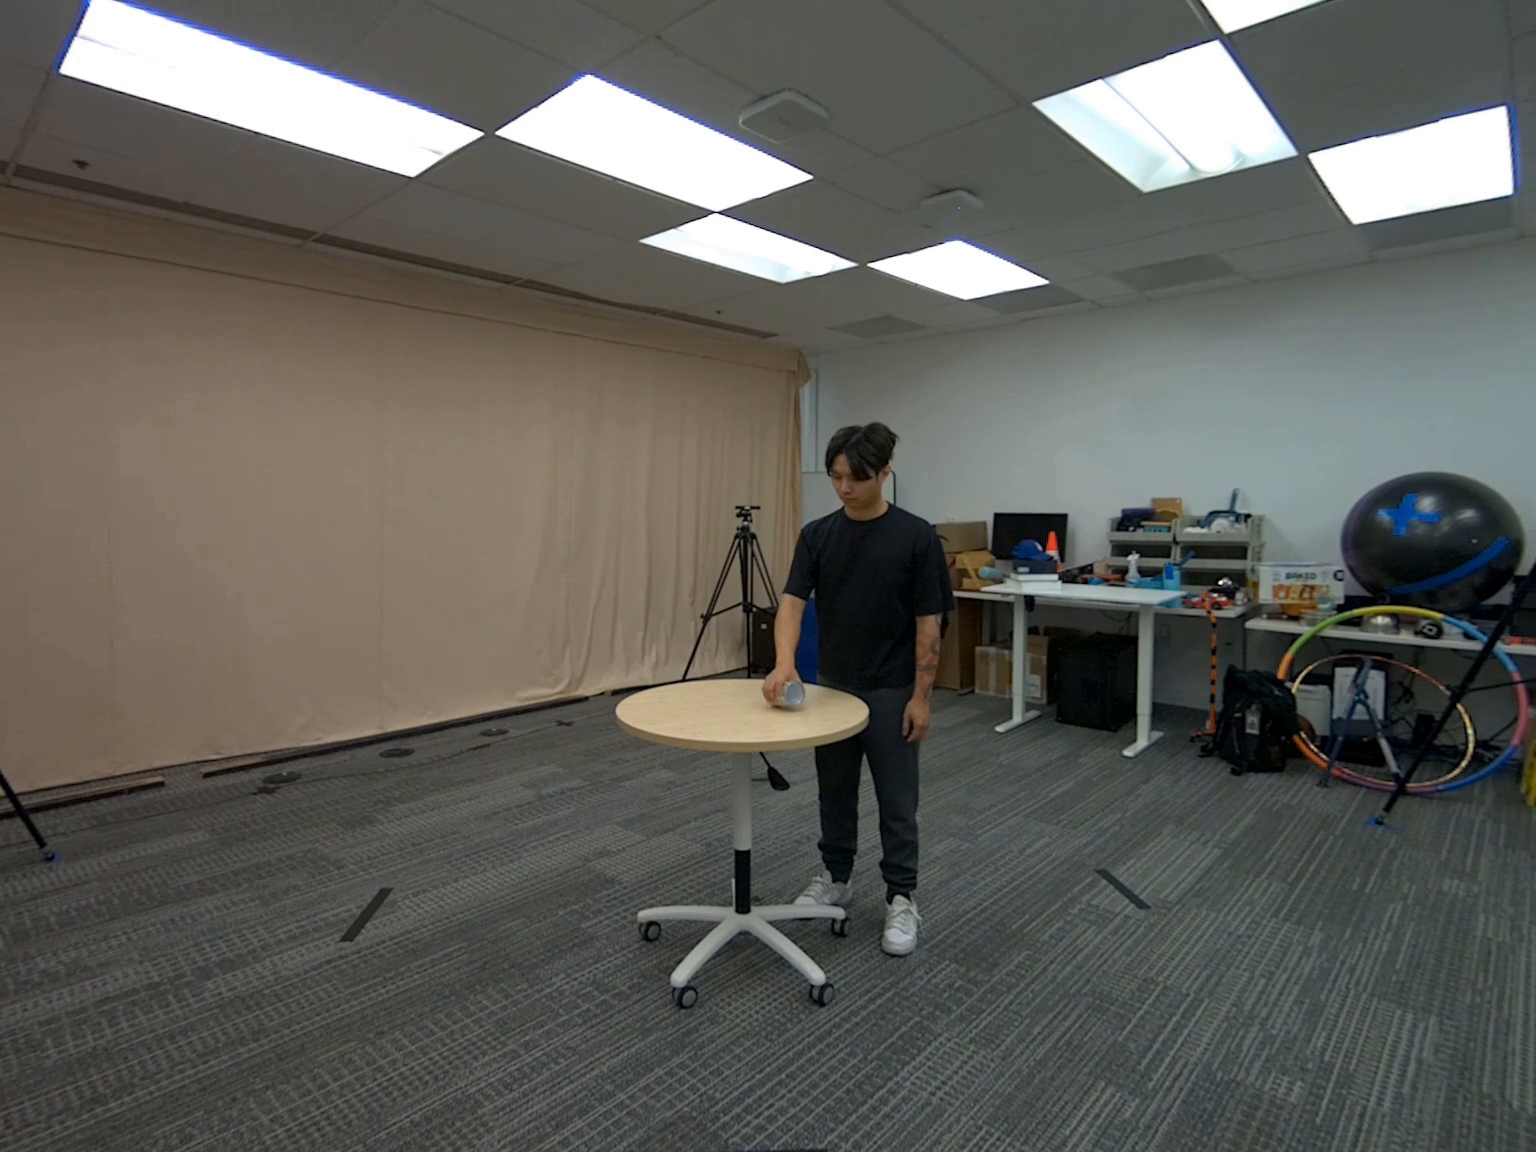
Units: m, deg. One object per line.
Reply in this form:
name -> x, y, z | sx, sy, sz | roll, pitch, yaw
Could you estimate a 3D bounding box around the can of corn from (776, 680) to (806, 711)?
can of corn -> 0.053, 0.351, 2.528 | 0.072, 0.074, 0.113 | -2, -5, -29
